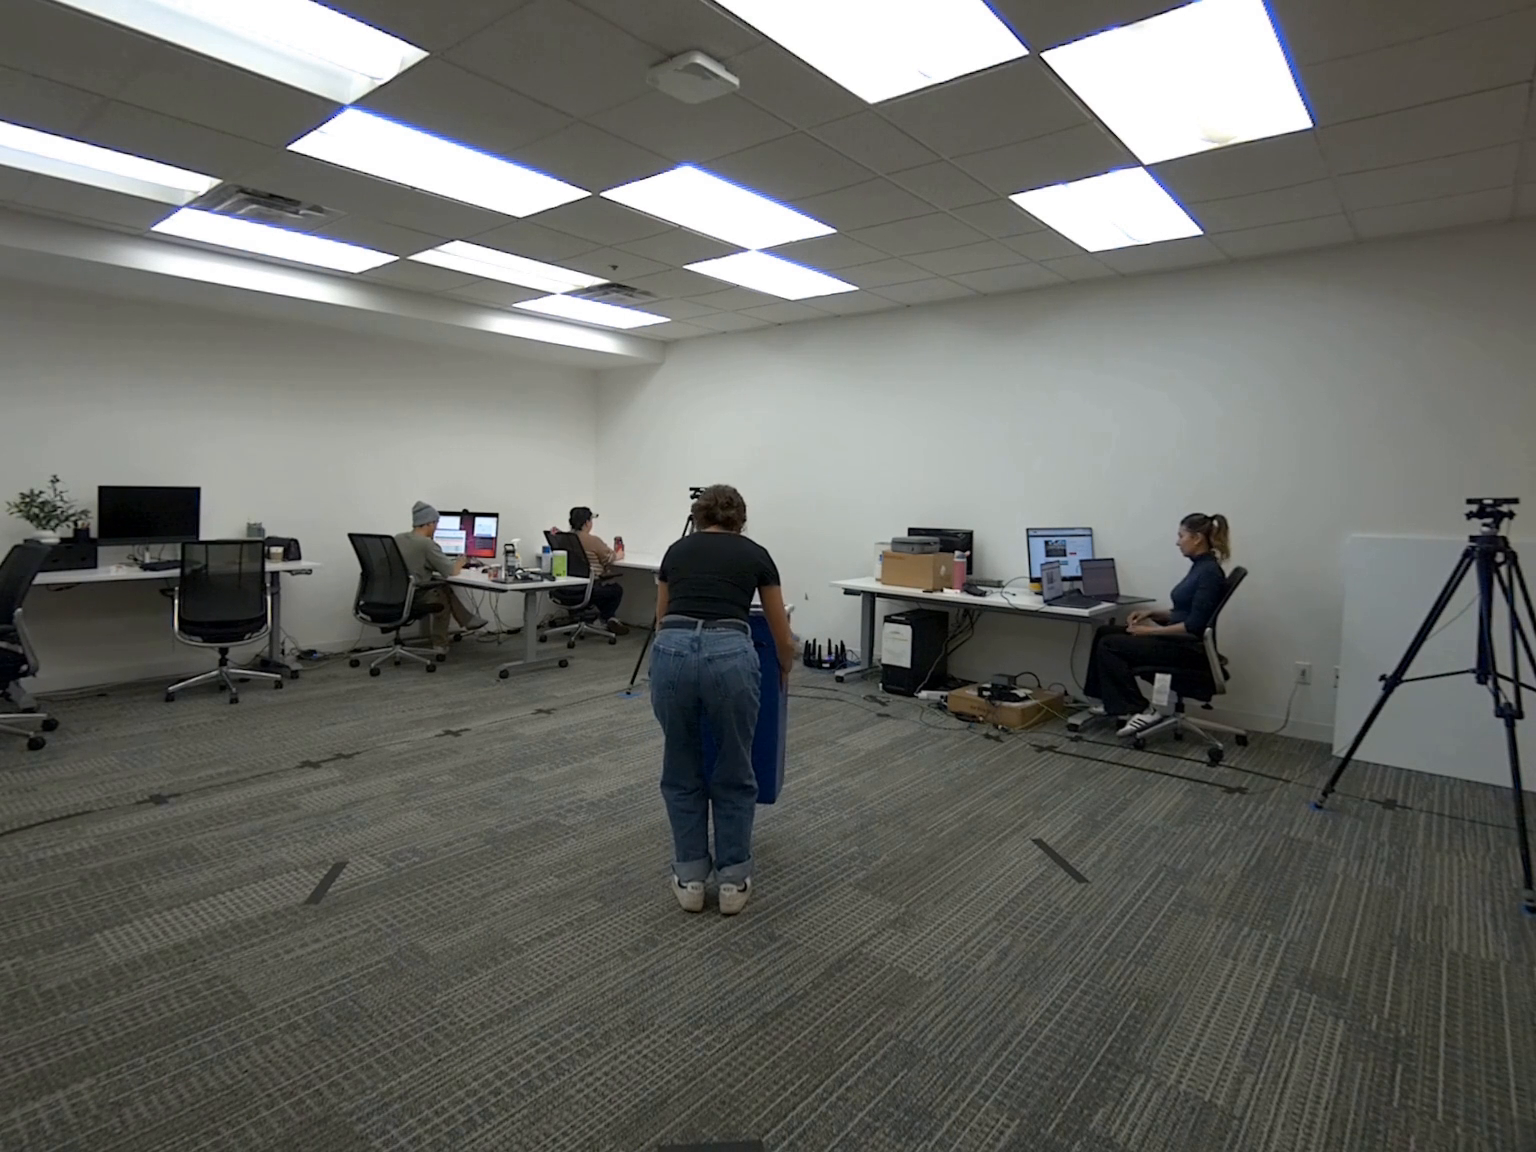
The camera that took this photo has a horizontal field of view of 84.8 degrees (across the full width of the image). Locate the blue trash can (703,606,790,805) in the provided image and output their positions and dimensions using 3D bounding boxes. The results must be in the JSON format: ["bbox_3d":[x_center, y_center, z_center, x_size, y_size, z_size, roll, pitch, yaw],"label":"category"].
[{"bbox_3d":[-0.118,0.467,3.287,0.379,0.714,0.373,1,0,10],"label":"blue trash can"}]
